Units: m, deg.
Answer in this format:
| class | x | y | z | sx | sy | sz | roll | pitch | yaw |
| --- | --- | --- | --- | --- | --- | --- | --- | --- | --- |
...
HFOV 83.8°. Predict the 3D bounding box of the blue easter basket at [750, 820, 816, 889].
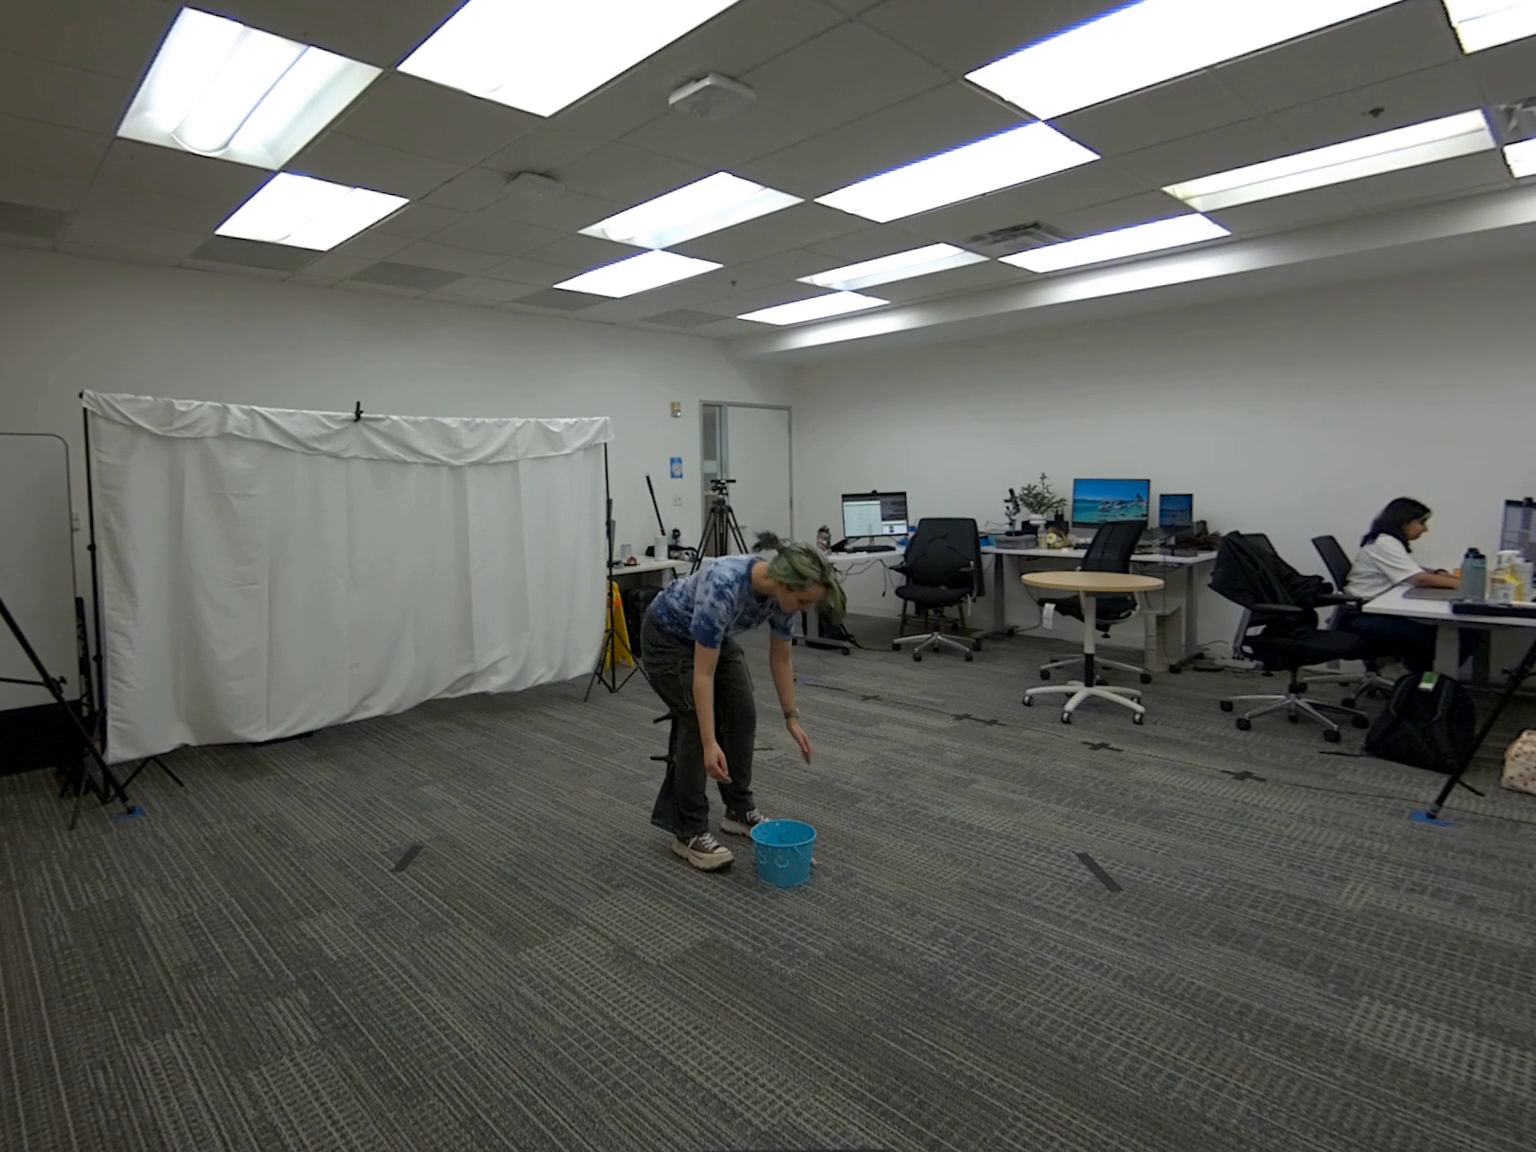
| class | x | y | z | sx | sy | sz | roll | pitch | yaw |
| --- | --- | --- | --- | --- | --- | --- | --- | --- | --- |
| blue easter basket | 0.056 | 0.977 | 3.015 | 0.243 | 0.155 | 0.245 | -1 | 6 | -2 |
